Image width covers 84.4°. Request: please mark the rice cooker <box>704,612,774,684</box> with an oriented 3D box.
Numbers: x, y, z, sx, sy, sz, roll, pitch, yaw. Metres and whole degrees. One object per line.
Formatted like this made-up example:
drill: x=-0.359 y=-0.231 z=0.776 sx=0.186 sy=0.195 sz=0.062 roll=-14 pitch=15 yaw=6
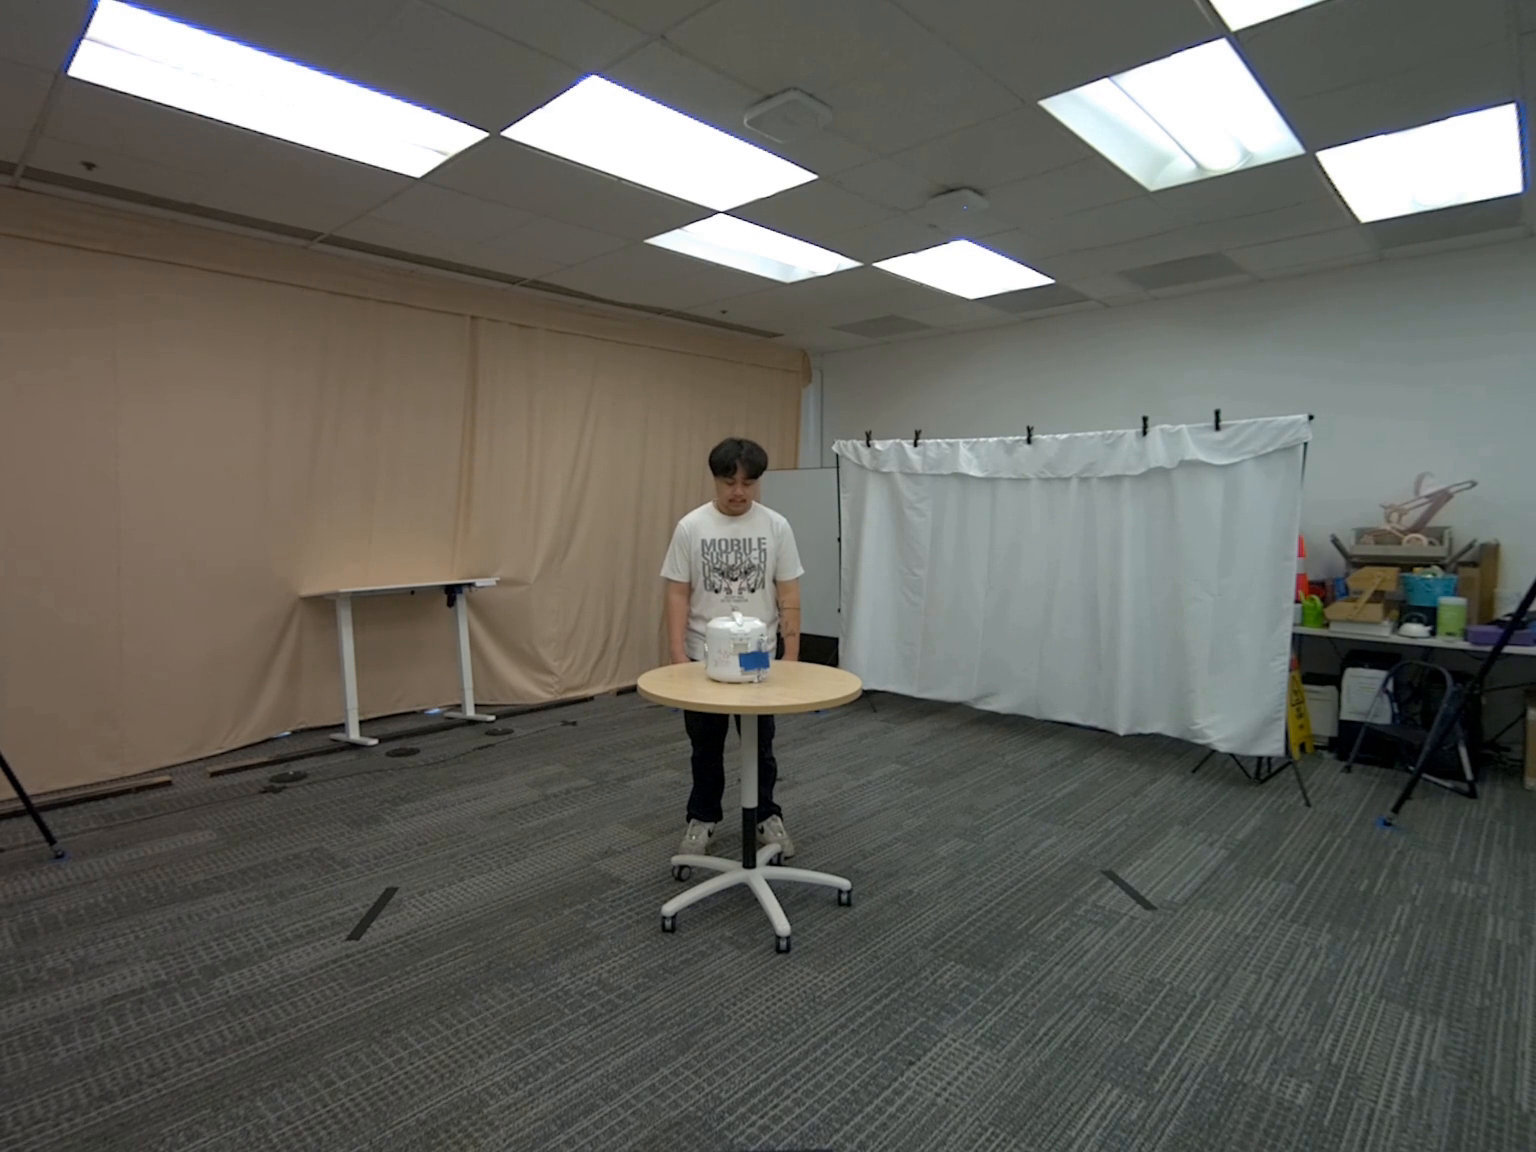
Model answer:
rice cooker: x=-0.107 y=0.235 z=2.893 sx=0.216 sy=0.232 sz=0.223 roll=0 pitch=3 yaw=-8
